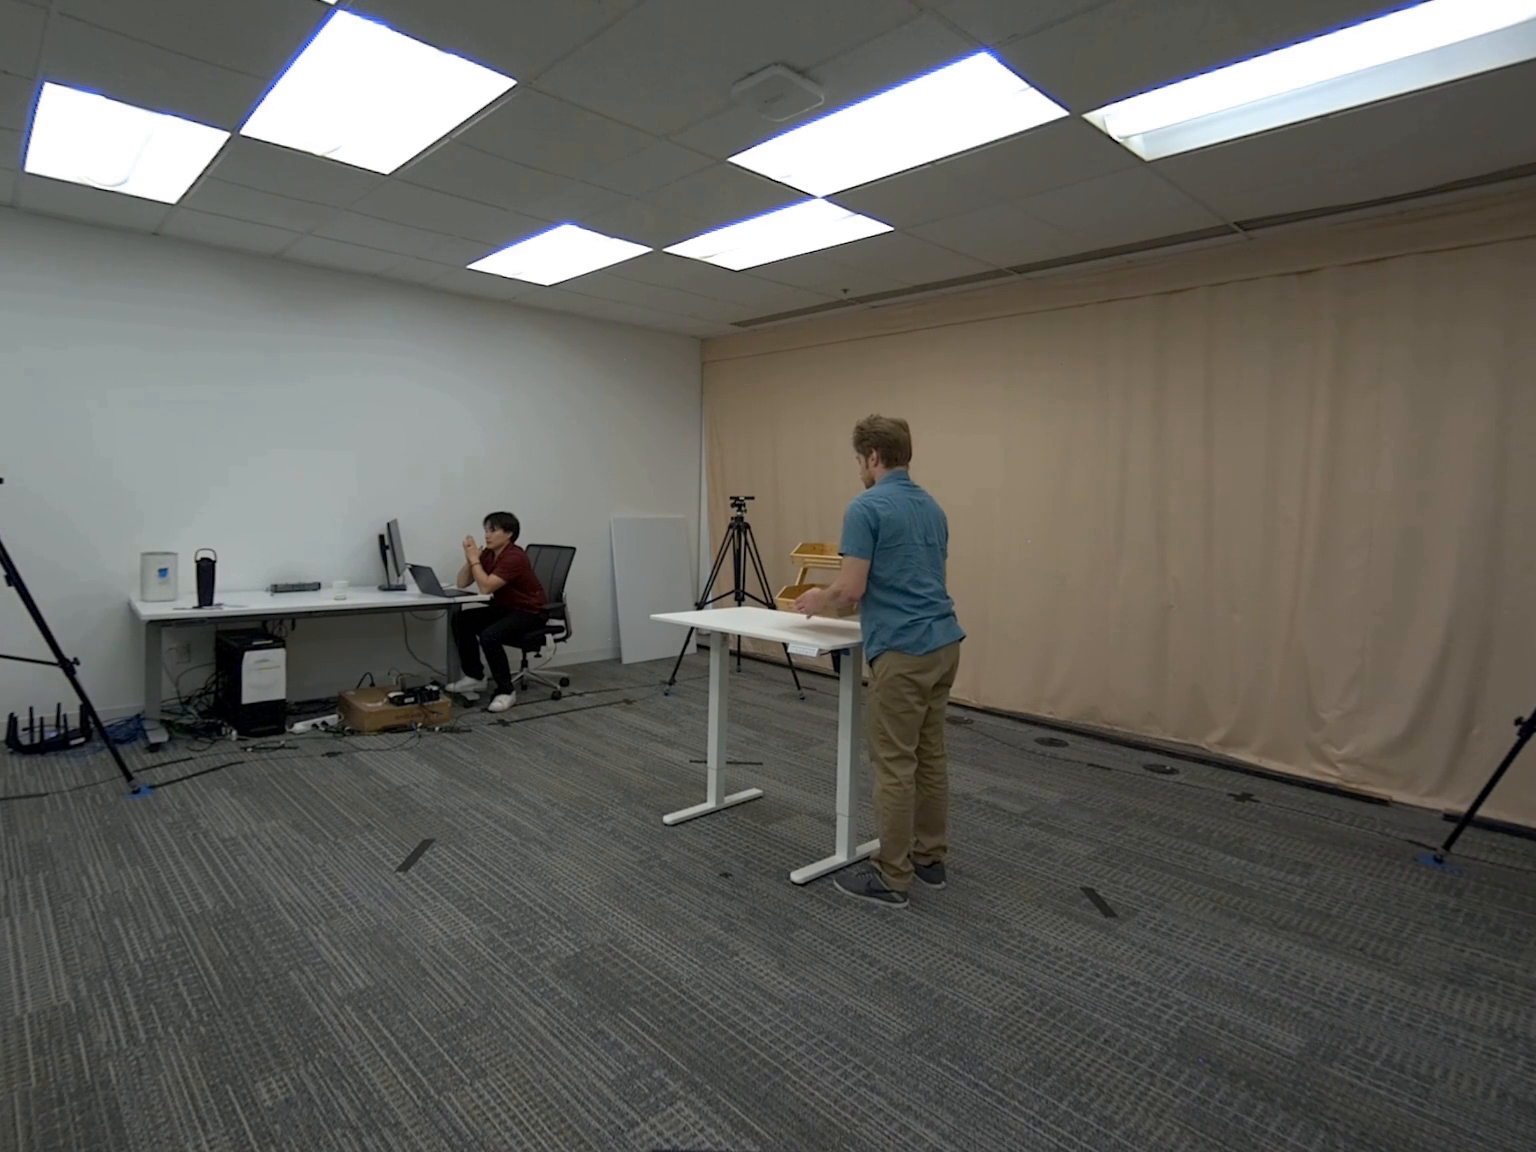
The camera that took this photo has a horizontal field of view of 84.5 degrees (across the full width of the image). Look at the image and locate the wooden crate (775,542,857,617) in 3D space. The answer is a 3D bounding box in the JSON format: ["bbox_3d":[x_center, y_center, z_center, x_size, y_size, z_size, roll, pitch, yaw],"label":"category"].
[{"bbox_3d":[0.234,0.005,3.312,0.333,0.273,0.295,5,5,43],"label":"wooden crate"}]
